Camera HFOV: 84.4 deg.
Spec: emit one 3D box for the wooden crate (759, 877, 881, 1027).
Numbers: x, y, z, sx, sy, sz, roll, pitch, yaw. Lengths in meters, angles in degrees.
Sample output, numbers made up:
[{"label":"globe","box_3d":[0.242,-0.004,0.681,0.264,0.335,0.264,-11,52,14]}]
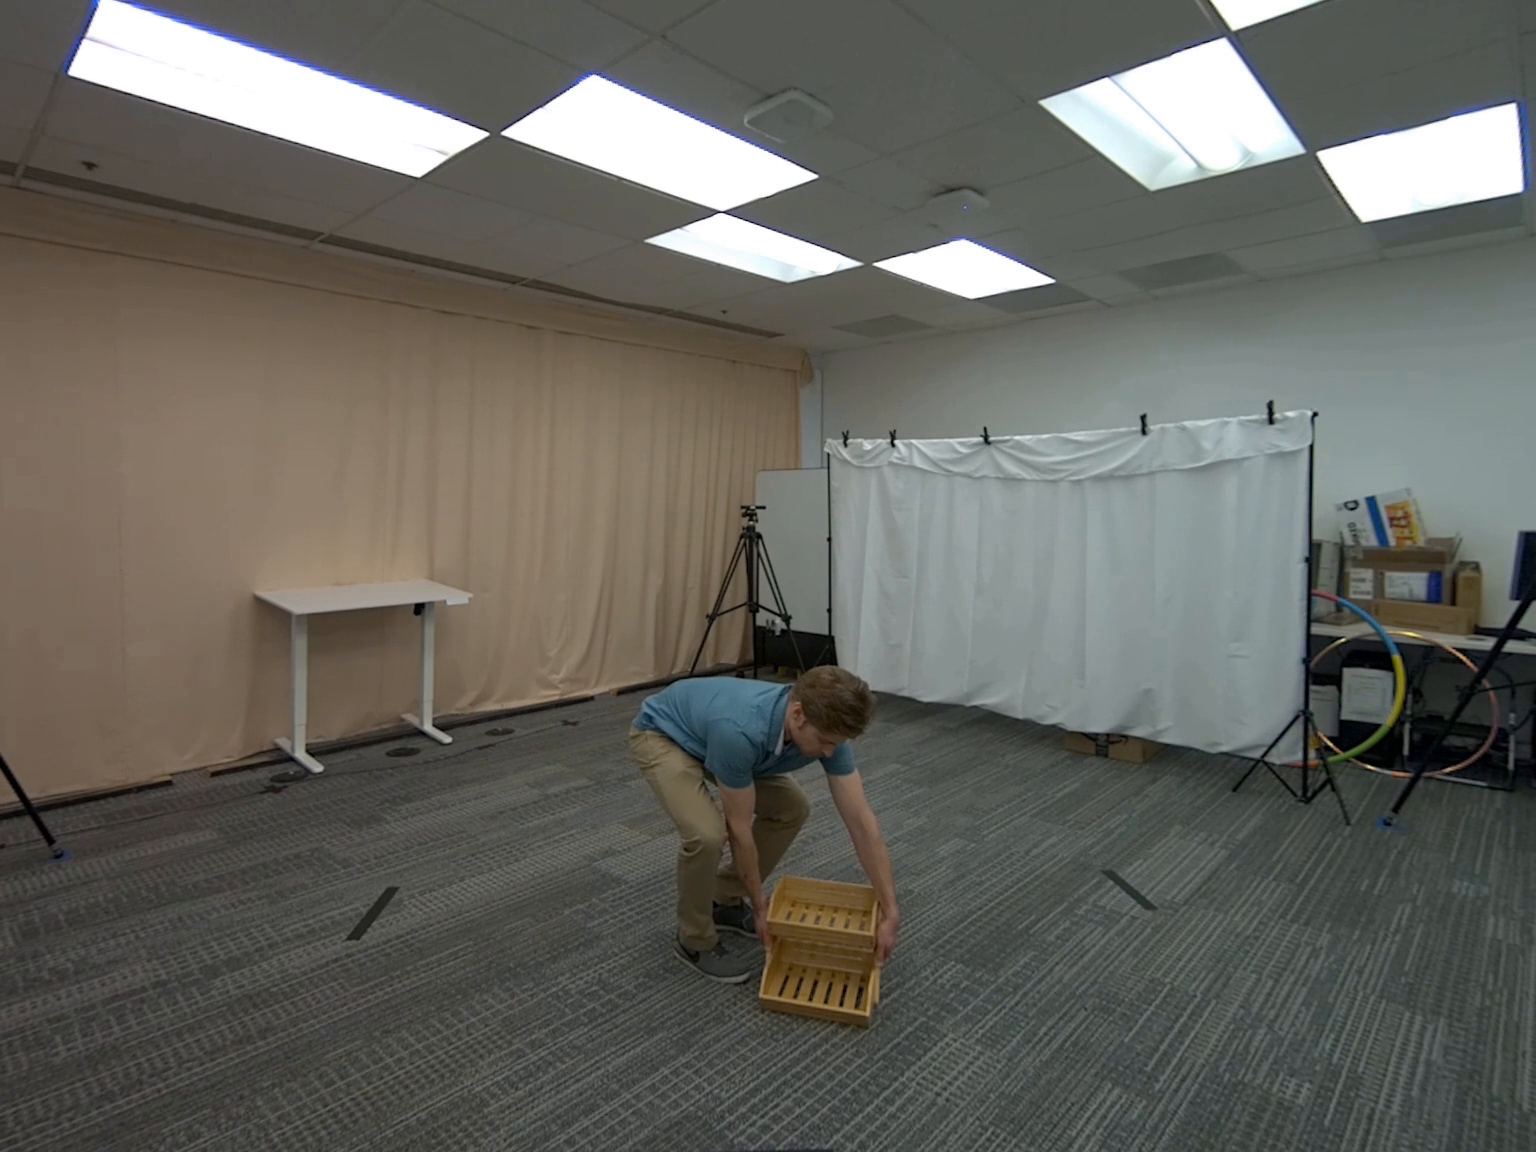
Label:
[{"label":"wooden crate","box_3d":[0.162,1.068,2.383,0.330,0.272,0.298,1,5,15]}]
